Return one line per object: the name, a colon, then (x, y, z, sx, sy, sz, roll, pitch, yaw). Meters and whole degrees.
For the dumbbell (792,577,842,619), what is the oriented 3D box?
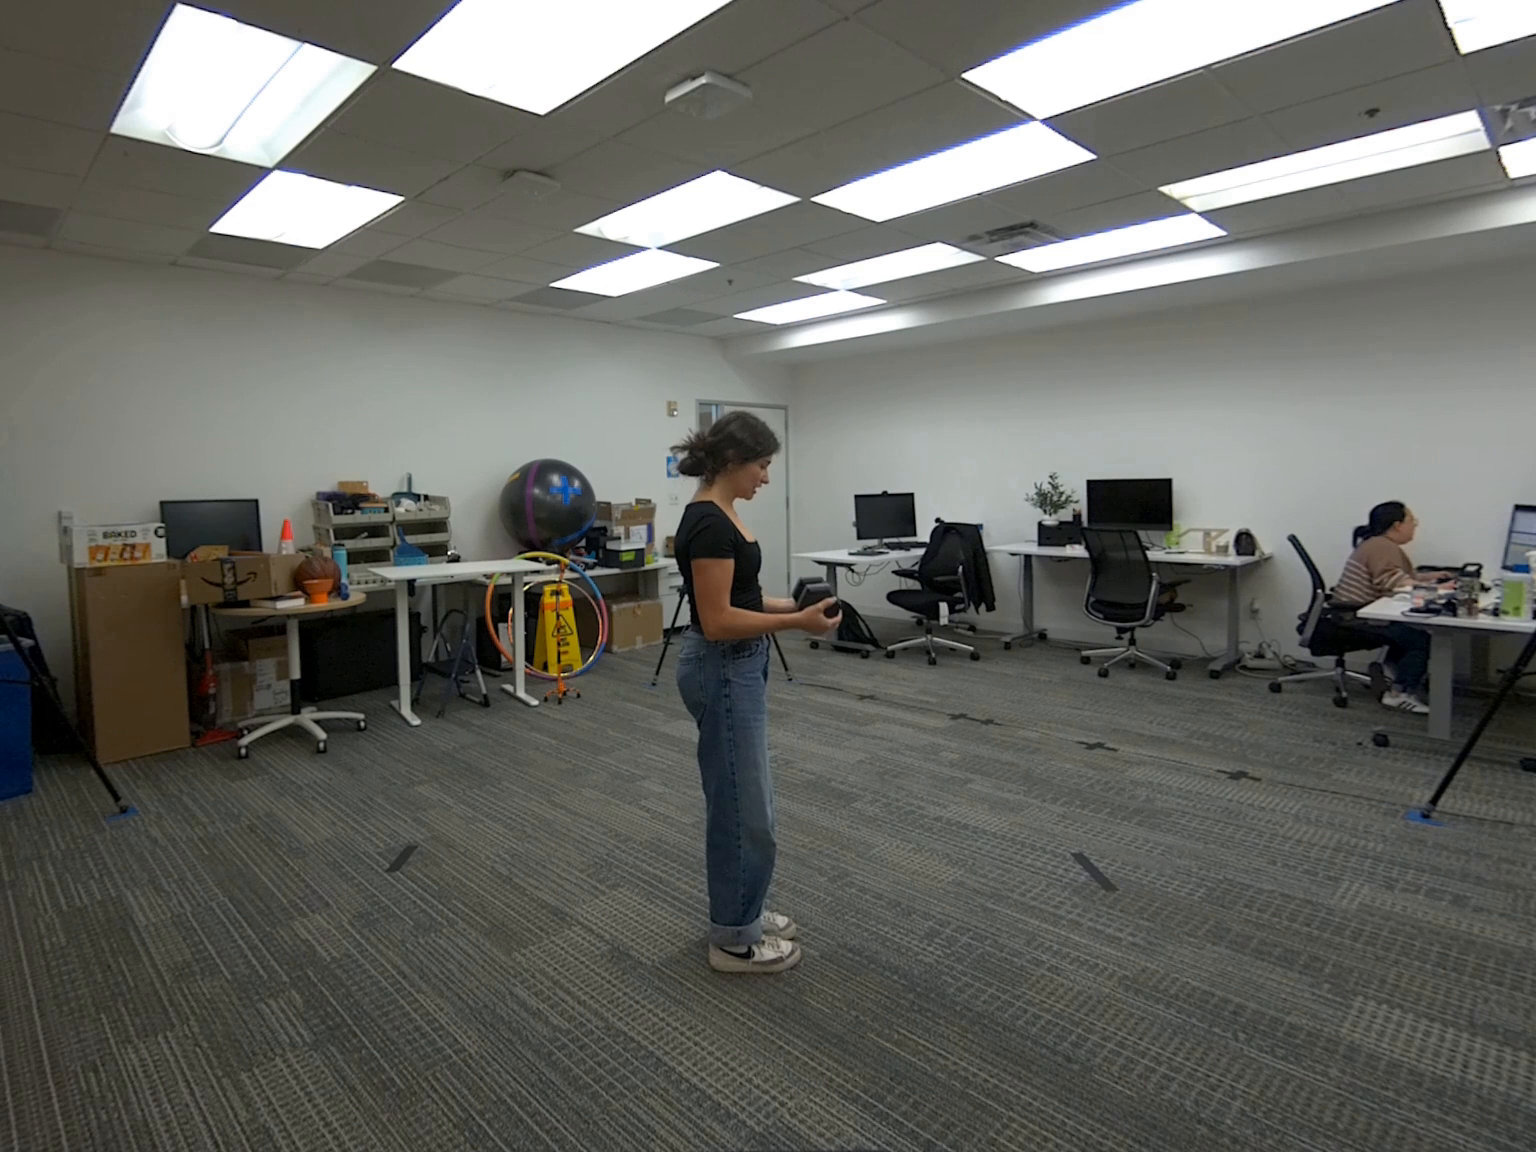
dumbbell: (0.123, 0.068, 2.479, 0.108, 0.123, 0.295, 33, 4, -6)
